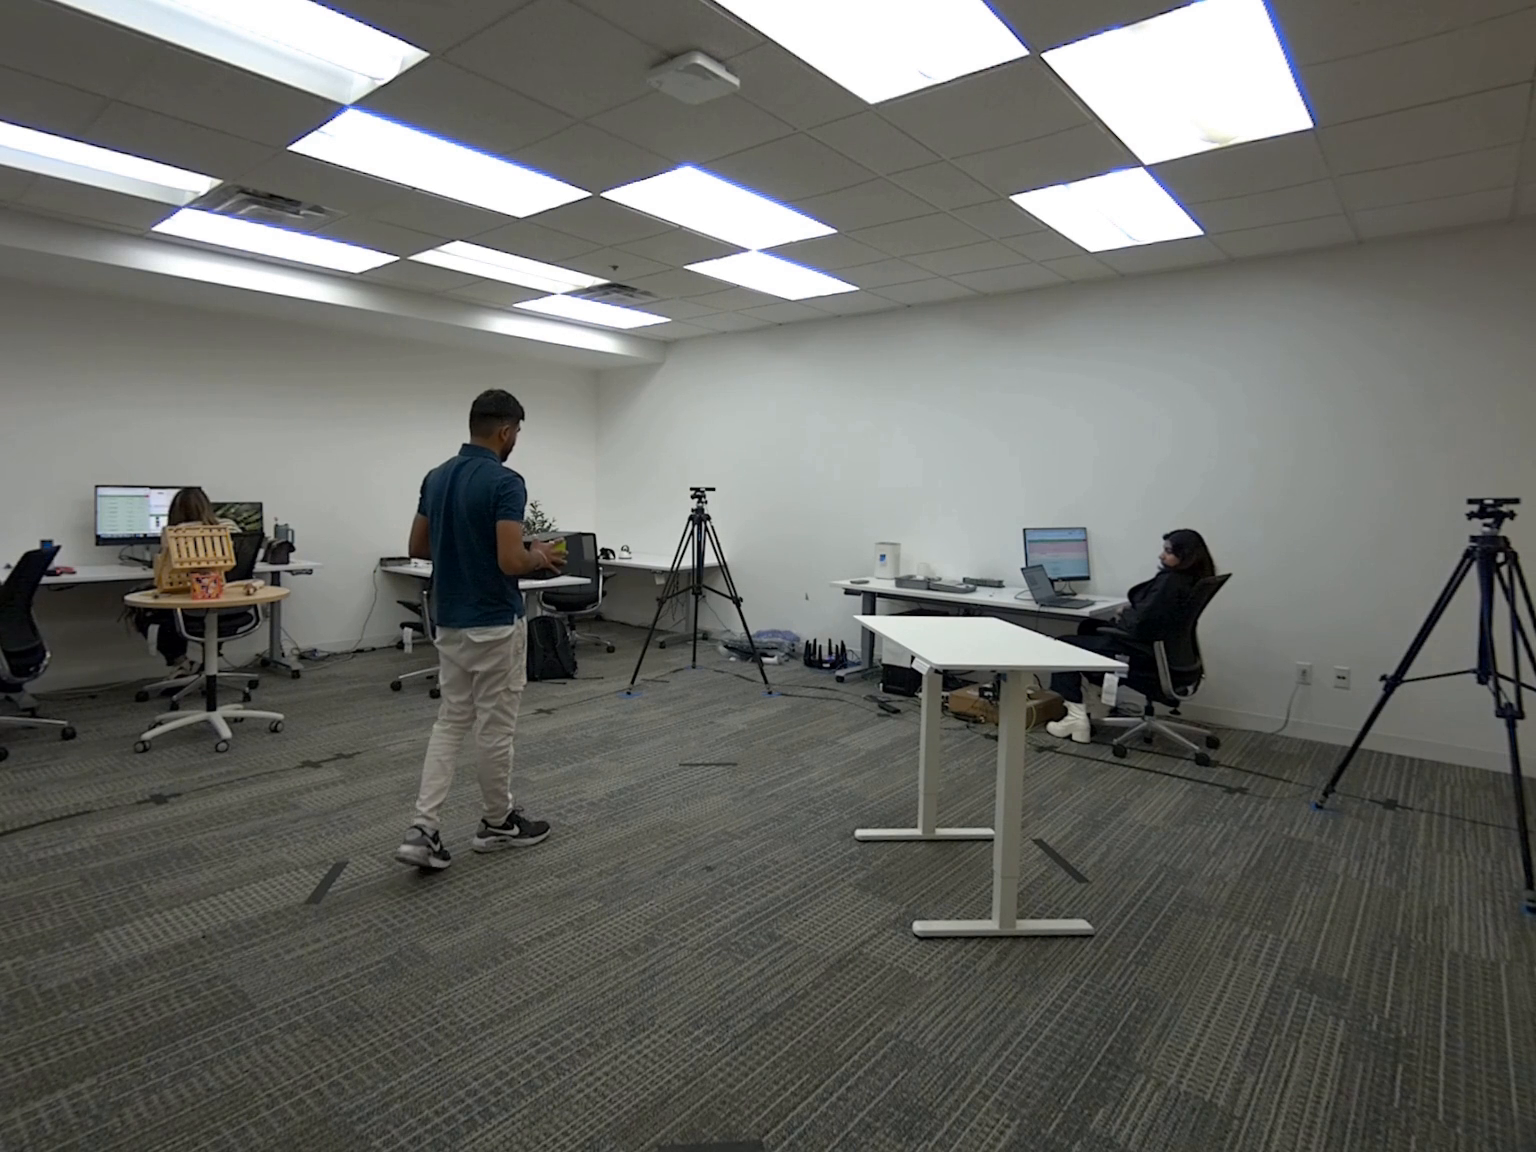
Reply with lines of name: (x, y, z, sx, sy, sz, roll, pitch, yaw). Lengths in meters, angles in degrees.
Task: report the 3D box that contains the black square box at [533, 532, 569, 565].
black square box: (-0.914, -0.087, 3.419, 0.224, 0.154, 0.223, 3, 12, 34)
